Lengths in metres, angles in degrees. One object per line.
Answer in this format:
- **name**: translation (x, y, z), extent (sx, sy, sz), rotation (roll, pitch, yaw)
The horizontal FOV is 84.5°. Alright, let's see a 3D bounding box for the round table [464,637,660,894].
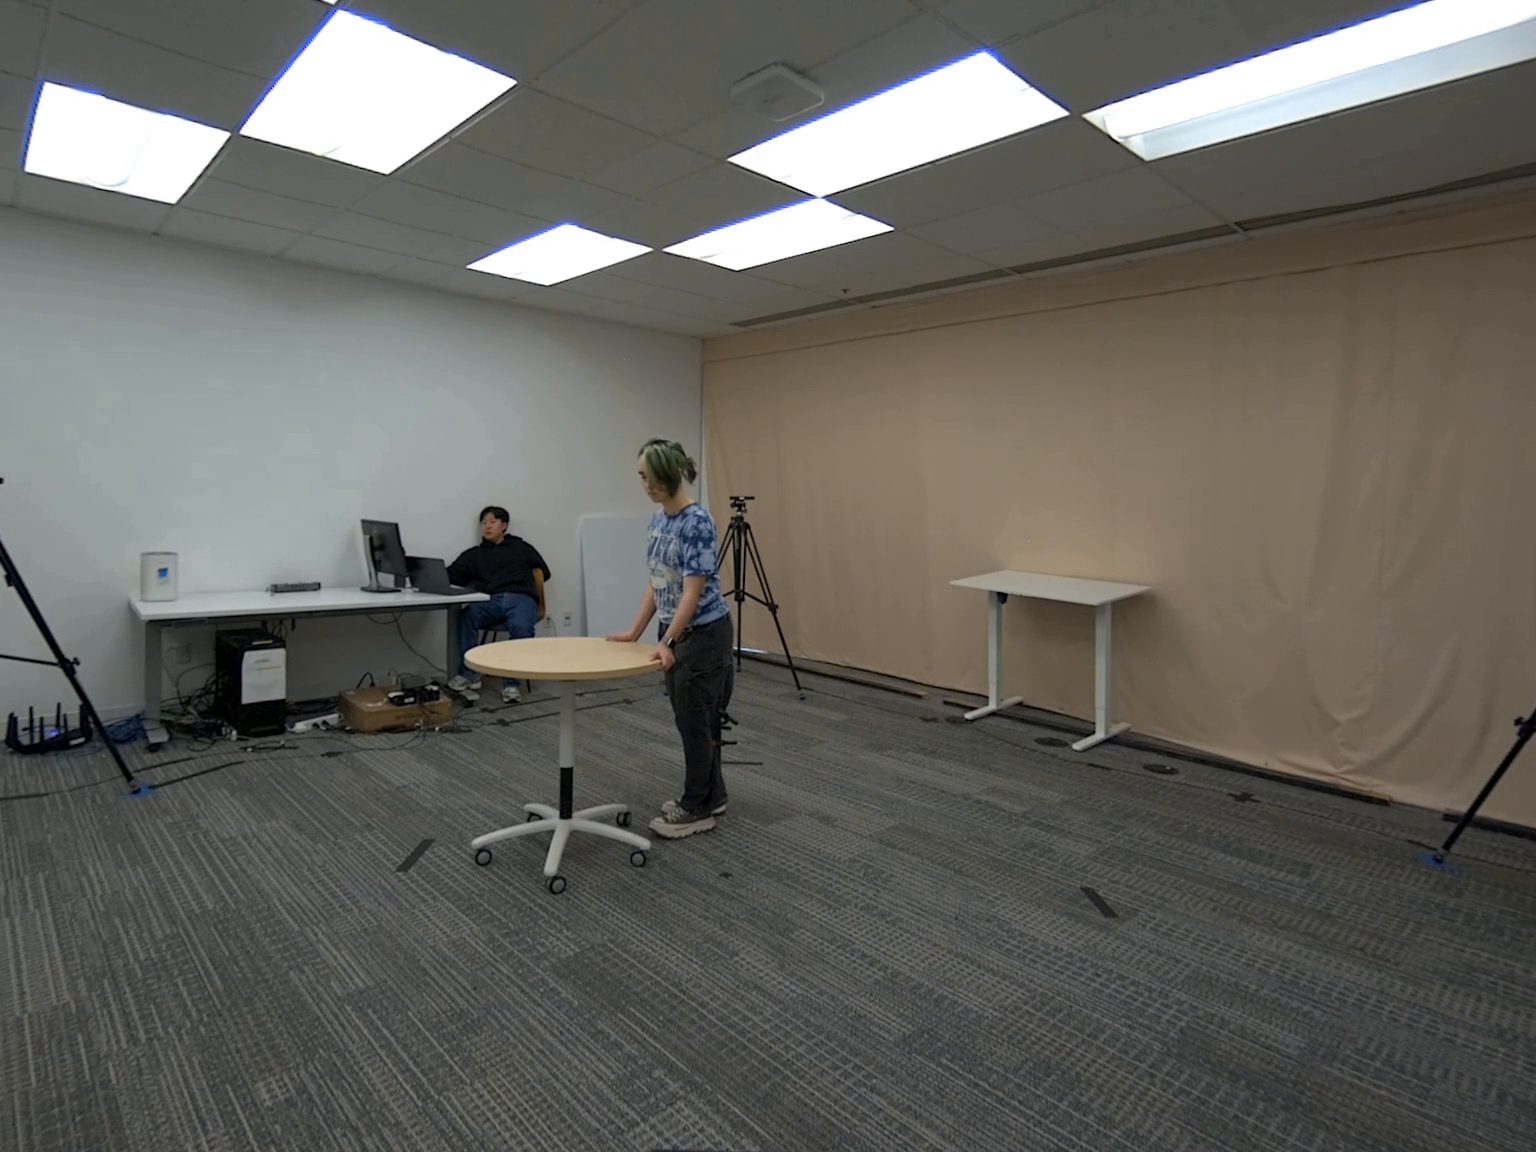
- **round table**: translation (-0.782, 0.688, 3.248), extent (0.763, 0.792, 0.766), rotation (1, 4, -1)
